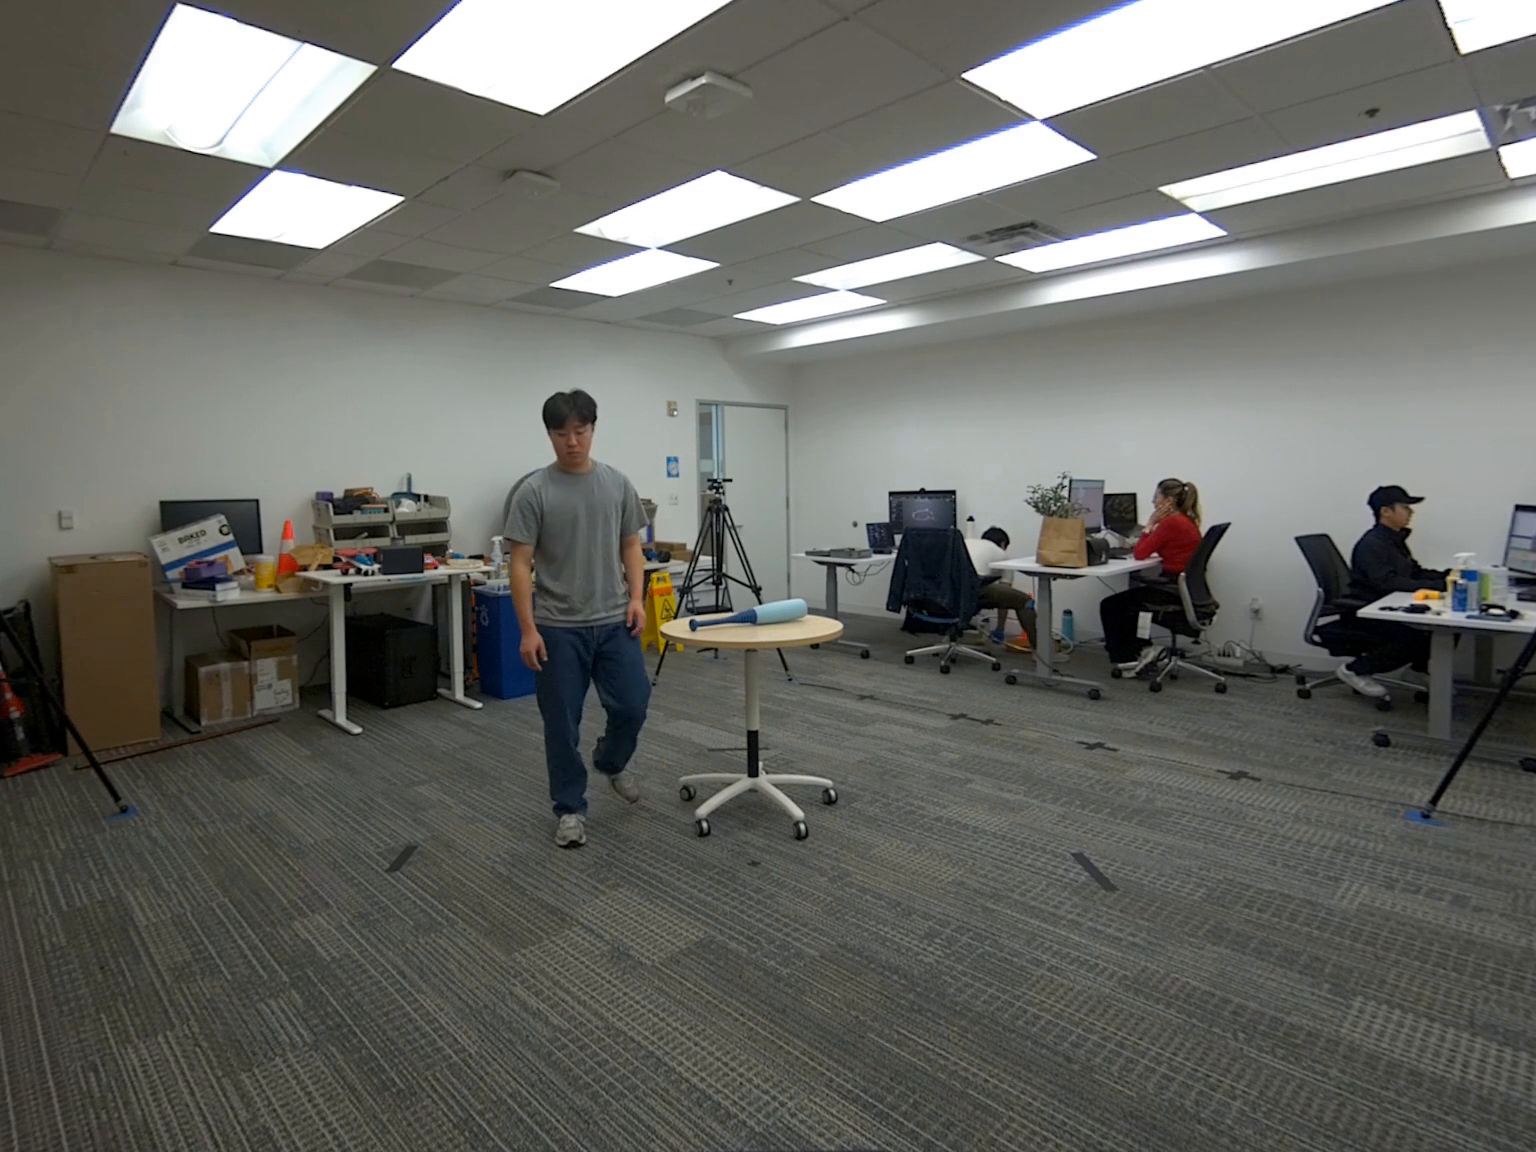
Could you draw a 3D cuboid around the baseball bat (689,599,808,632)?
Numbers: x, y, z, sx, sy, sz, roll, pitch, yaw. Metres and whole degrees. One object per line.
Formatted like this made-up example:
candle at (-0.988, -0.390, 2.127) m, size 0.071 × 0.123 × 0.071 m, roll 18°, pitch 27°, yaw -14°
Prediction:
baseball bat at (-0.077, 0.175, 3.584) m, size 0.532 × 0.088 × 0.091 m, roll -9°, pitch 8°, yaw -27°
